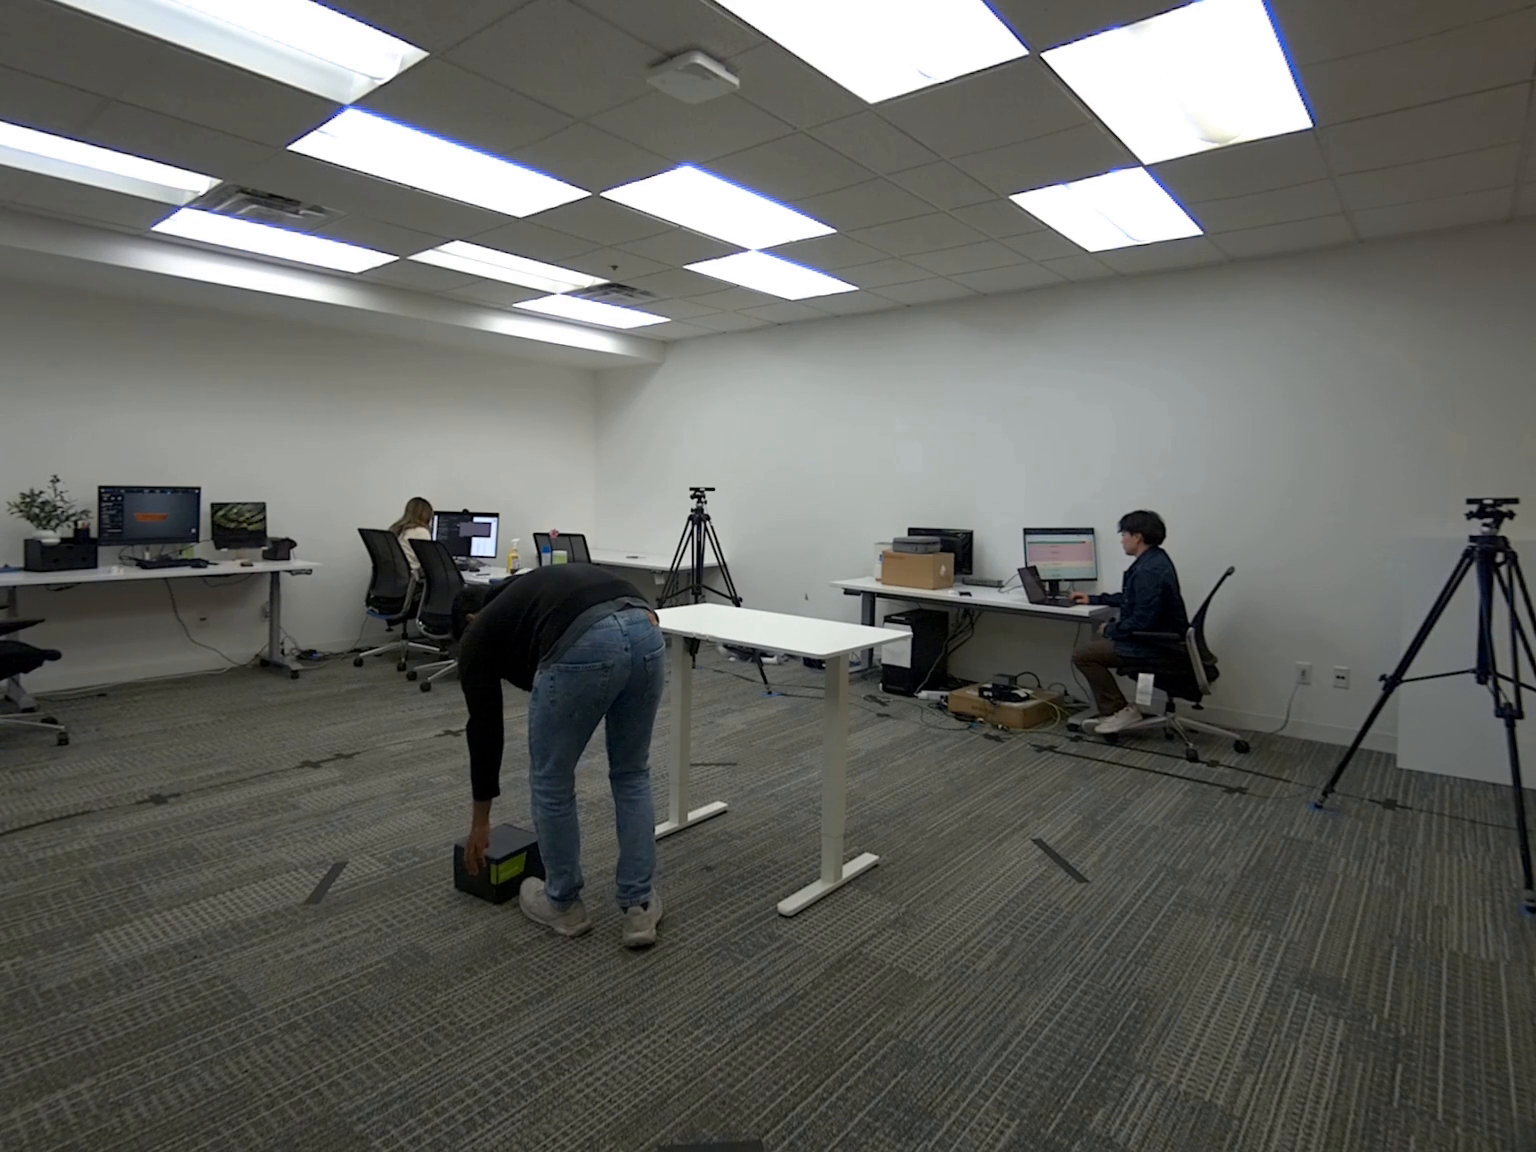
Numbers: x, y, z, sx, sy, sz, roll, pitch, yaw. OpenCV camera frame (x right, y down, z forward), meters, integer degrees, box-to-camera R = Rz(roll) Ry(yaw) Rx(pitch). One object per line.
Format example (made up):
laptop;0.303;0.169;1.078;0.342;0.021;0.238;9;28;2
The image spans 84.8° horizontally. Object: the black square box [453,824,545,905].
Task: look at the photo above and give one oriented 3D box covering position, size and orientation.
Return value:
black square box;-0.942;0.982;2.945;0.223;0.155;0.222;4;5;31
